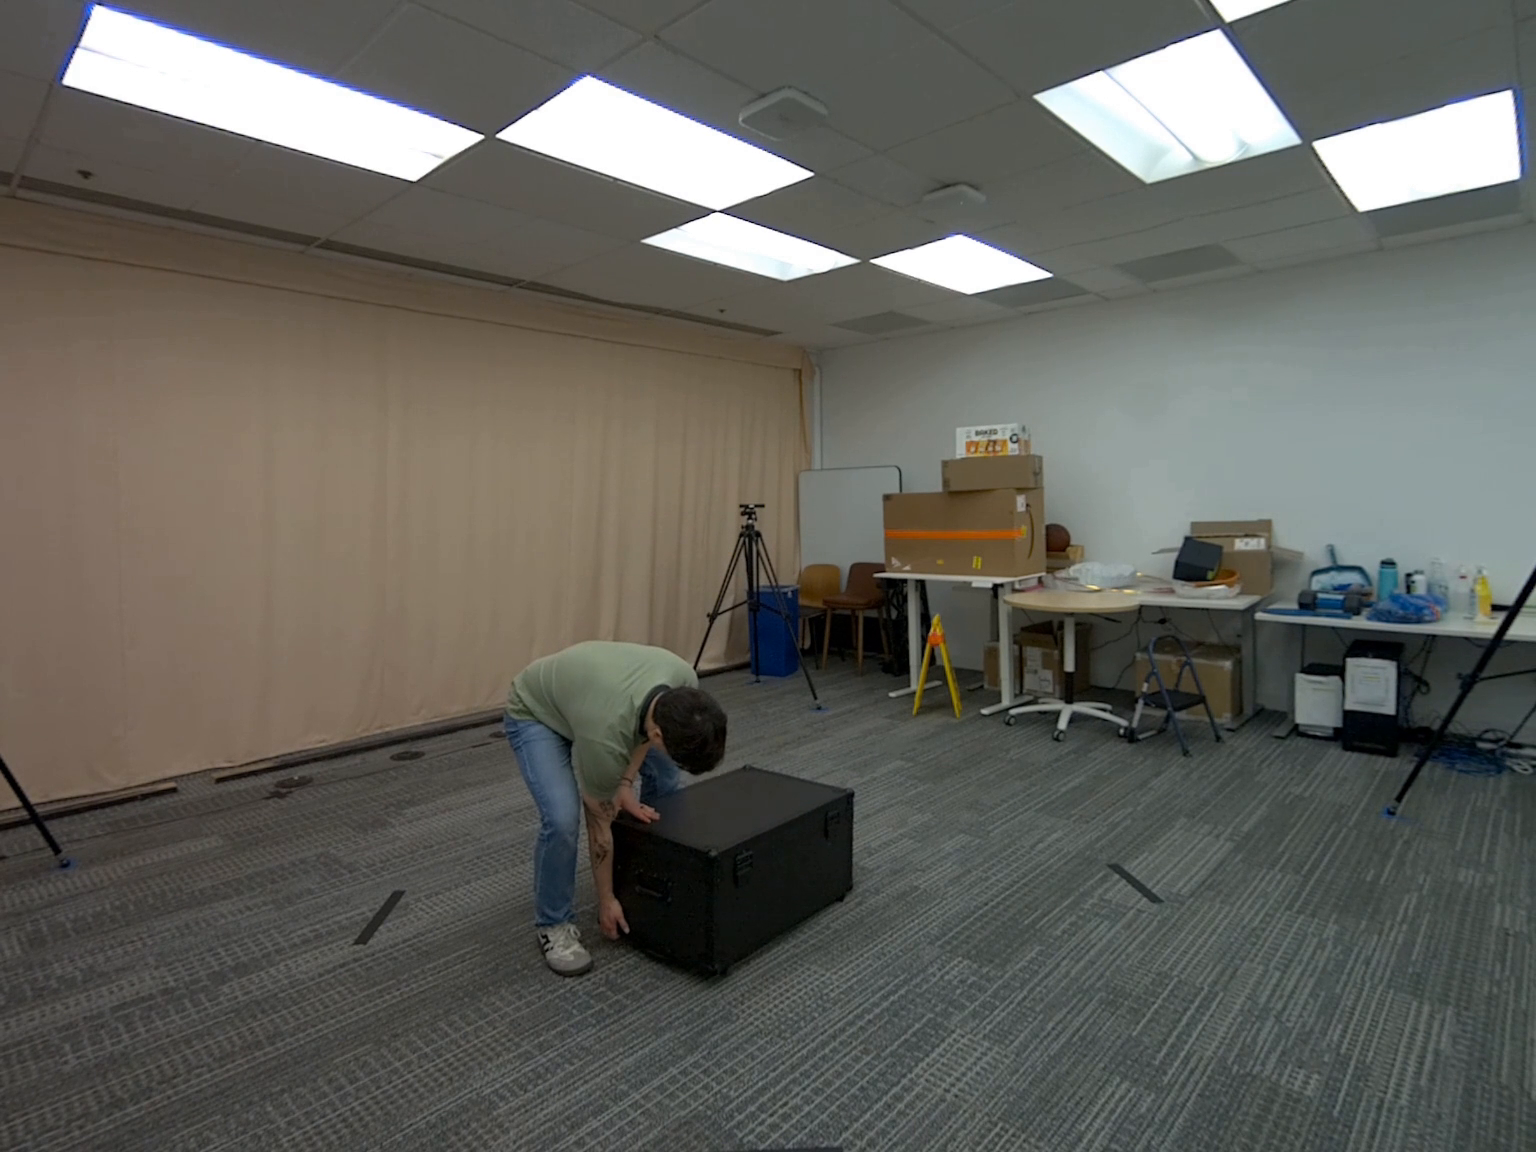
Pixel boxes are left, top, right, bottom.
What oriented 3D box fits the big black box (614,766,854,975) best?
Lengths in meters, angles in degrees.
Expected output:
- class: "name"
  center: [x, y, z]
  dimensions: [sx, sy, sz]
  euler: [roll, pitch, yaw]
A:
- class: "big black box"
  center: [-0.086, 0.952, 2.864]
  dimensions: [0.538, 0.395, 0.836]
  euler: [2, 5, 37]
